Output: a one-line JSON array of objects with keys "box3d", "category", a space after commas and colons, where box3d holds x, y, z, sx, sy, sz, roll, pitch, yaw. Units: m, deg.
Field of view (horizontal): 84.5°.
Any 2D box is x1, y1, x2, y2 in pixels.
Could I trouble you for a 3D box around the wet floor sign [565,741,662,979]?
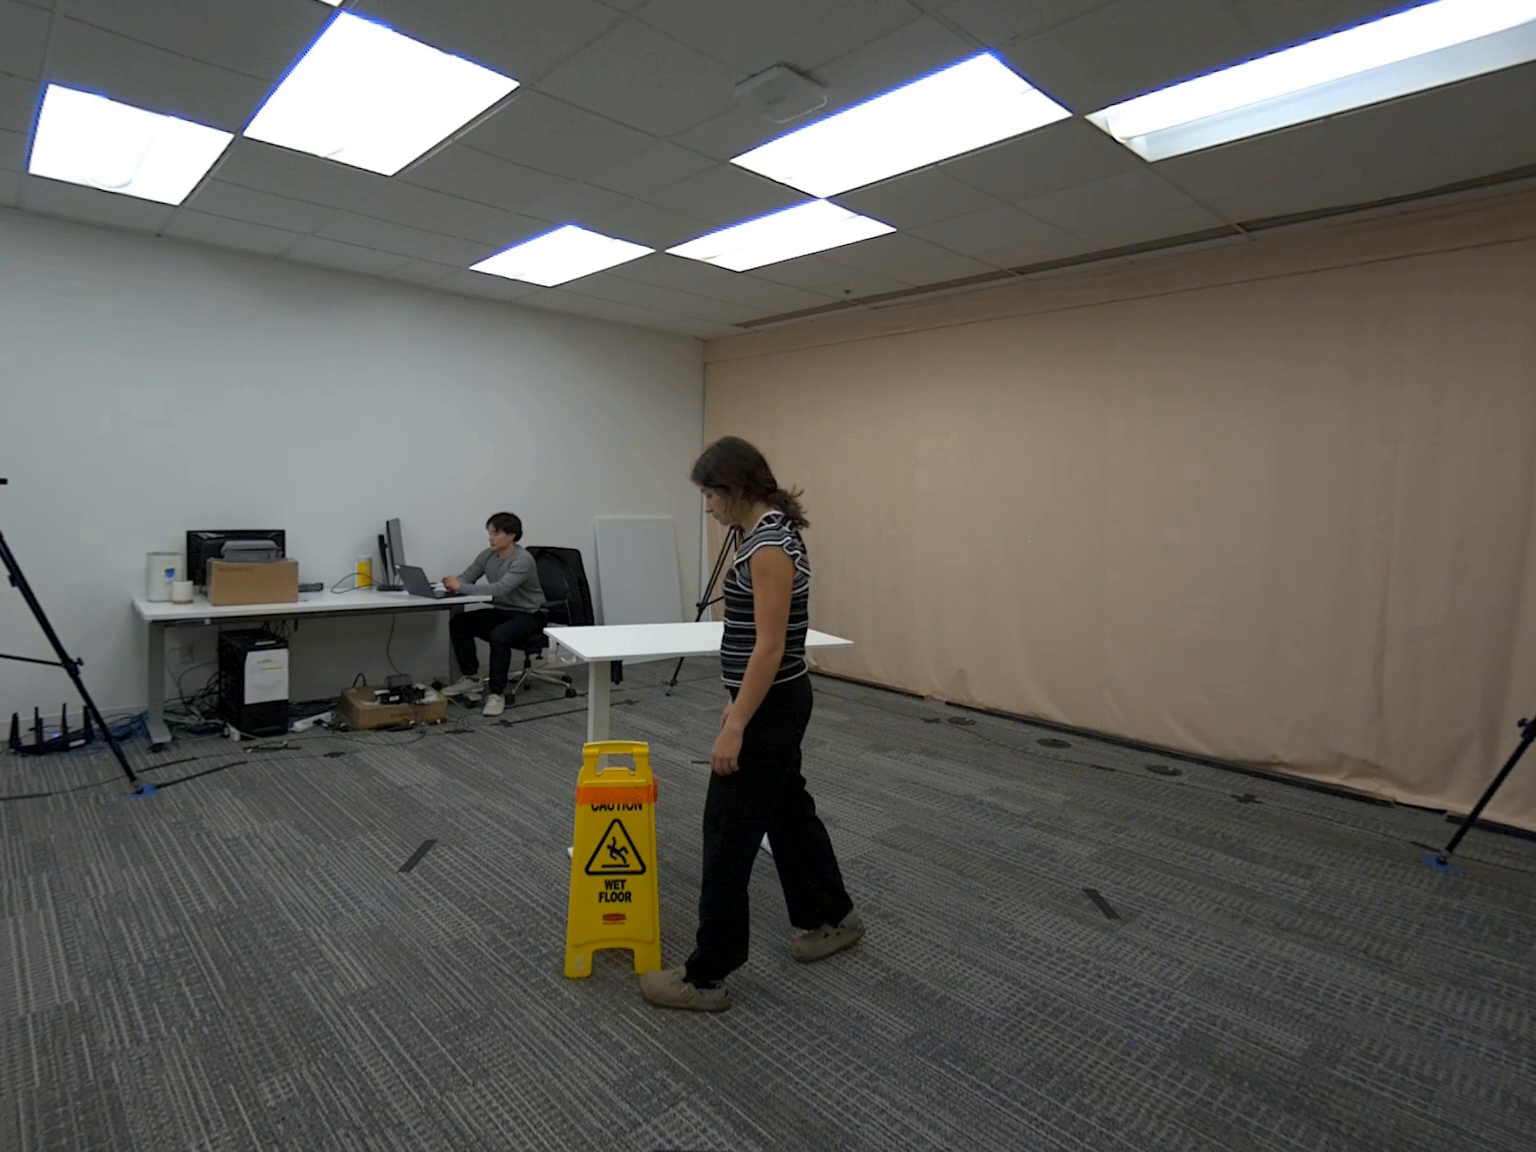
[{"box3d": [-0.471, 0.827, 2.539, 0.281, 0.644, 0.292, 0, 4, -8], "category": "wet floor sign"}]
